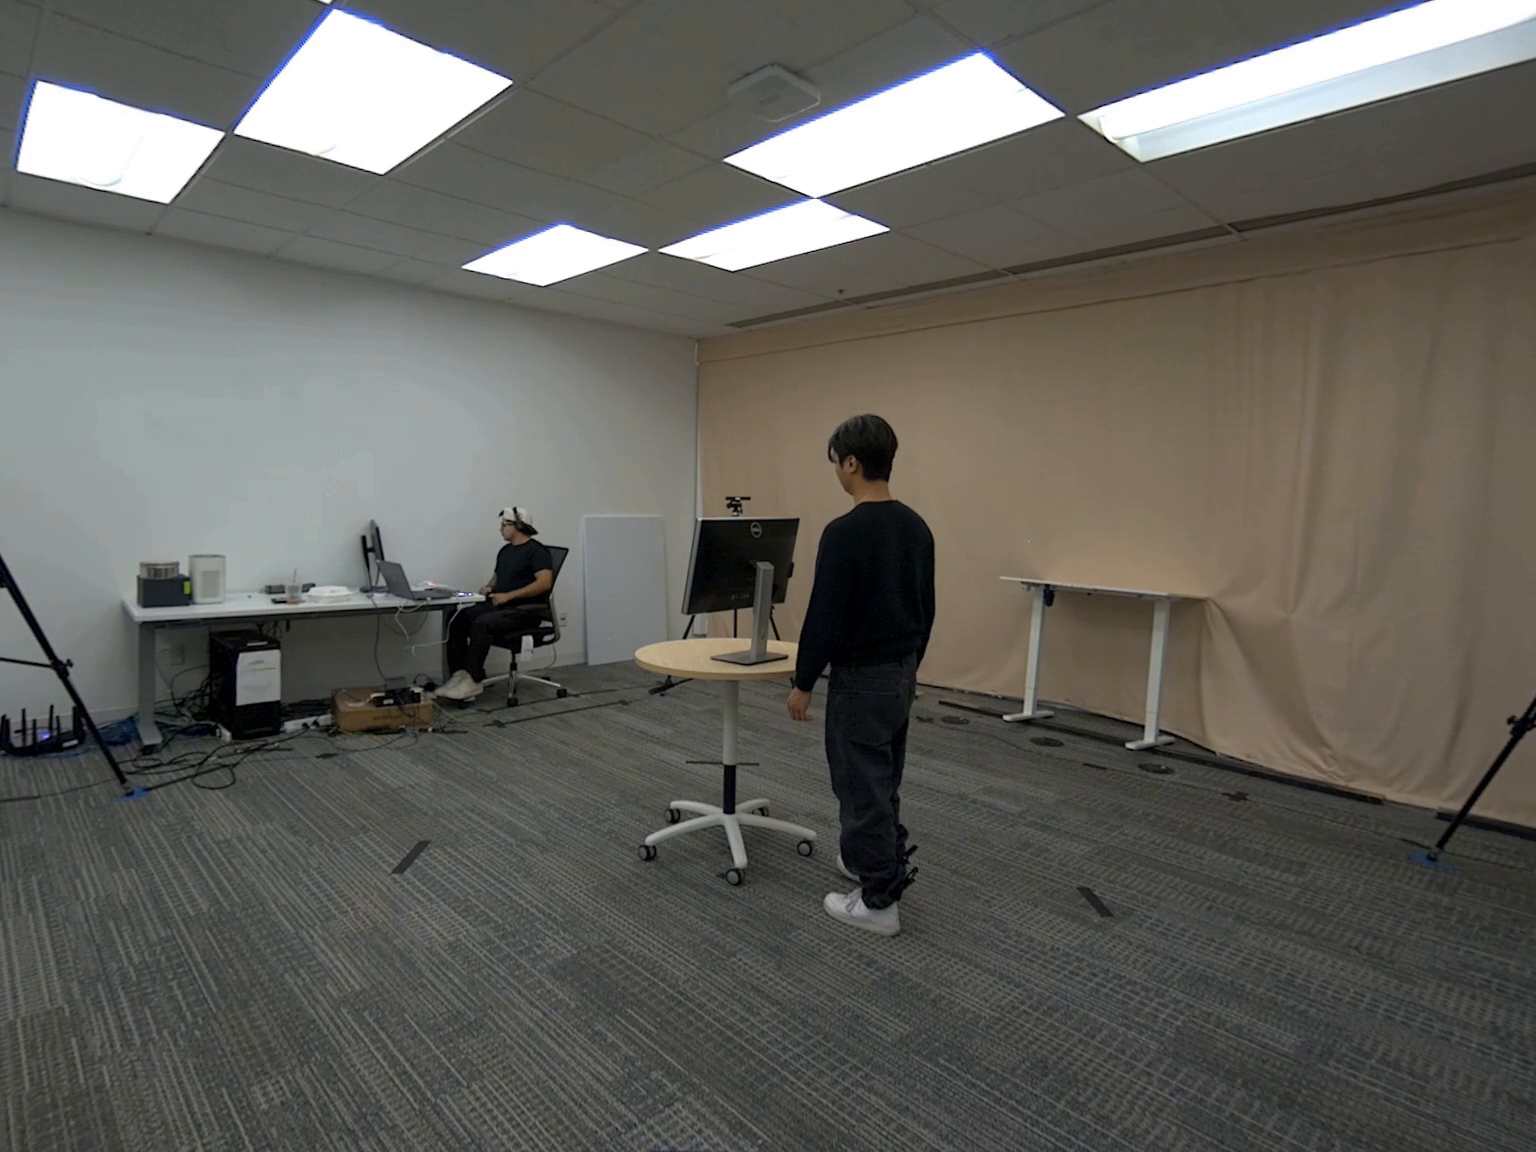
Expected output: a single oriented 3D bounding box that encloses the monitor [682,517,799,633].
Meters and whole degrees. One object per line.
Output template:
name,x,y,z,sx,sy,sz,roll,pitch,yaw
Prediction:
monitor,-0.072,0.053,3.205,0.191,0.522,0.527,1,3,40
